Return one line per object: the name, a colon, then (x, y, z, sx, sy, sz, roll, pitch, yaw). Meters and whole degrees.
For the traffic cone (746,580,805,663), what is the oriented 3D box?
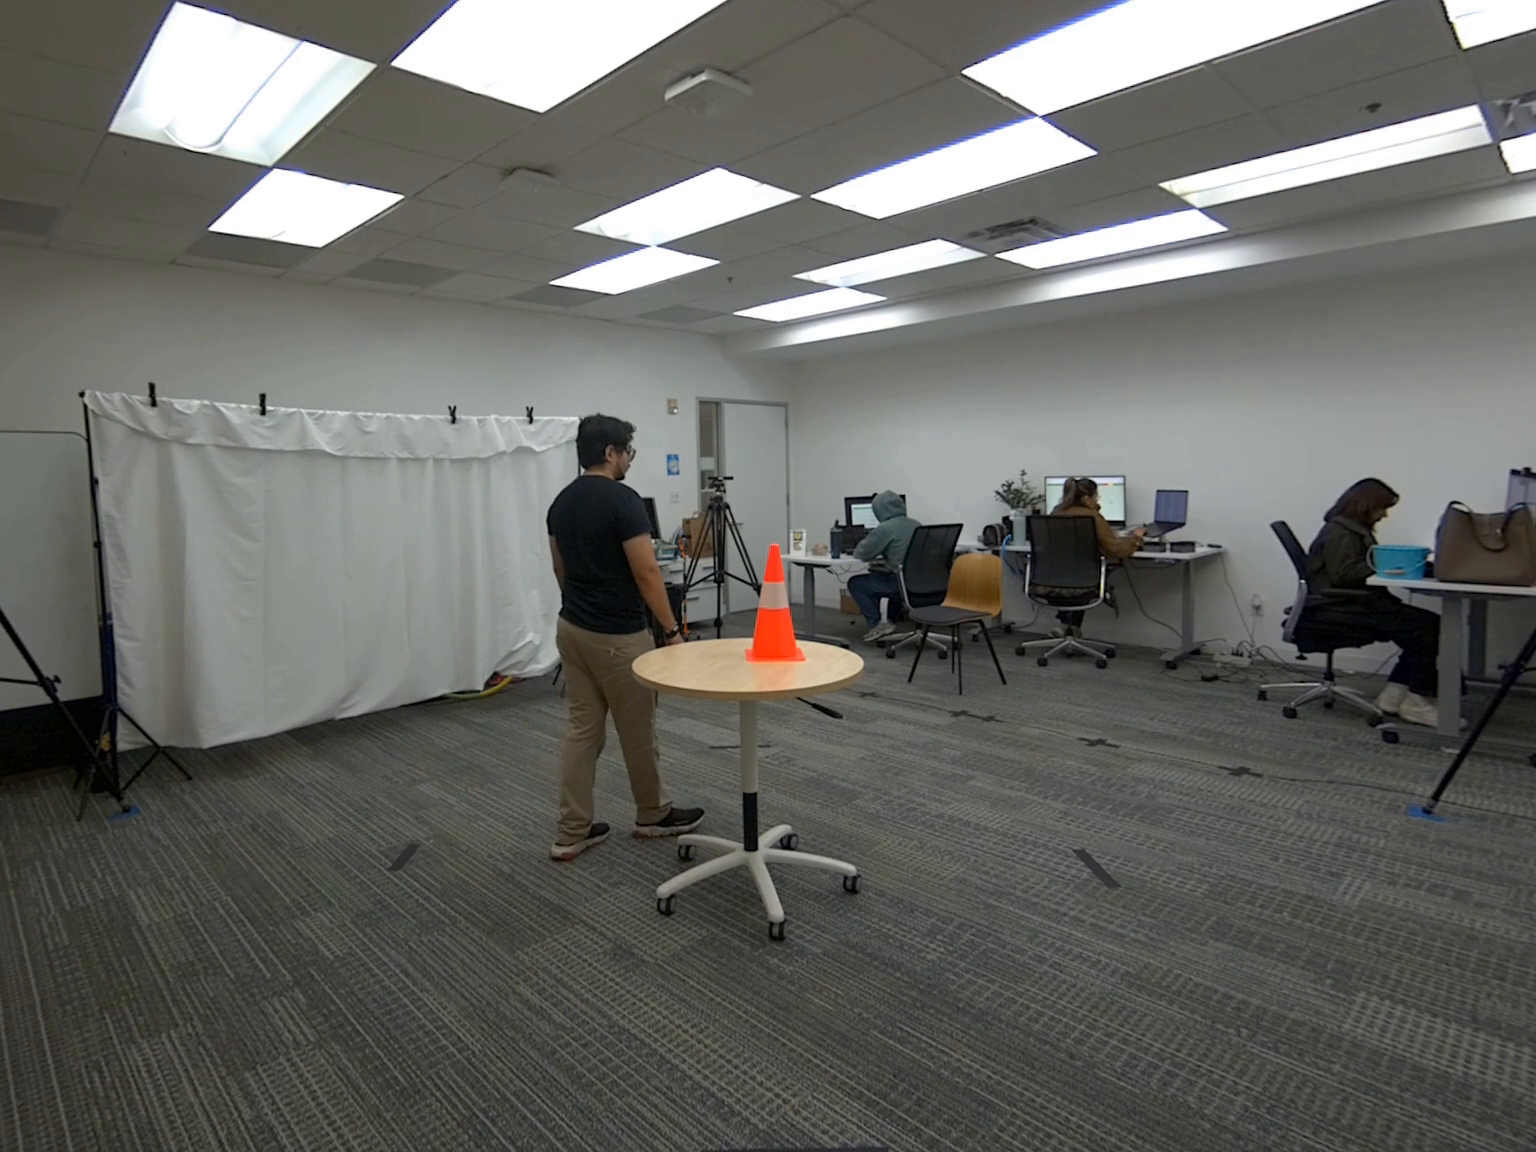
traffic cone: (0.023, 0.087, 2.914, 0.203, 0.382, 0.207, -1, 5, -4)
